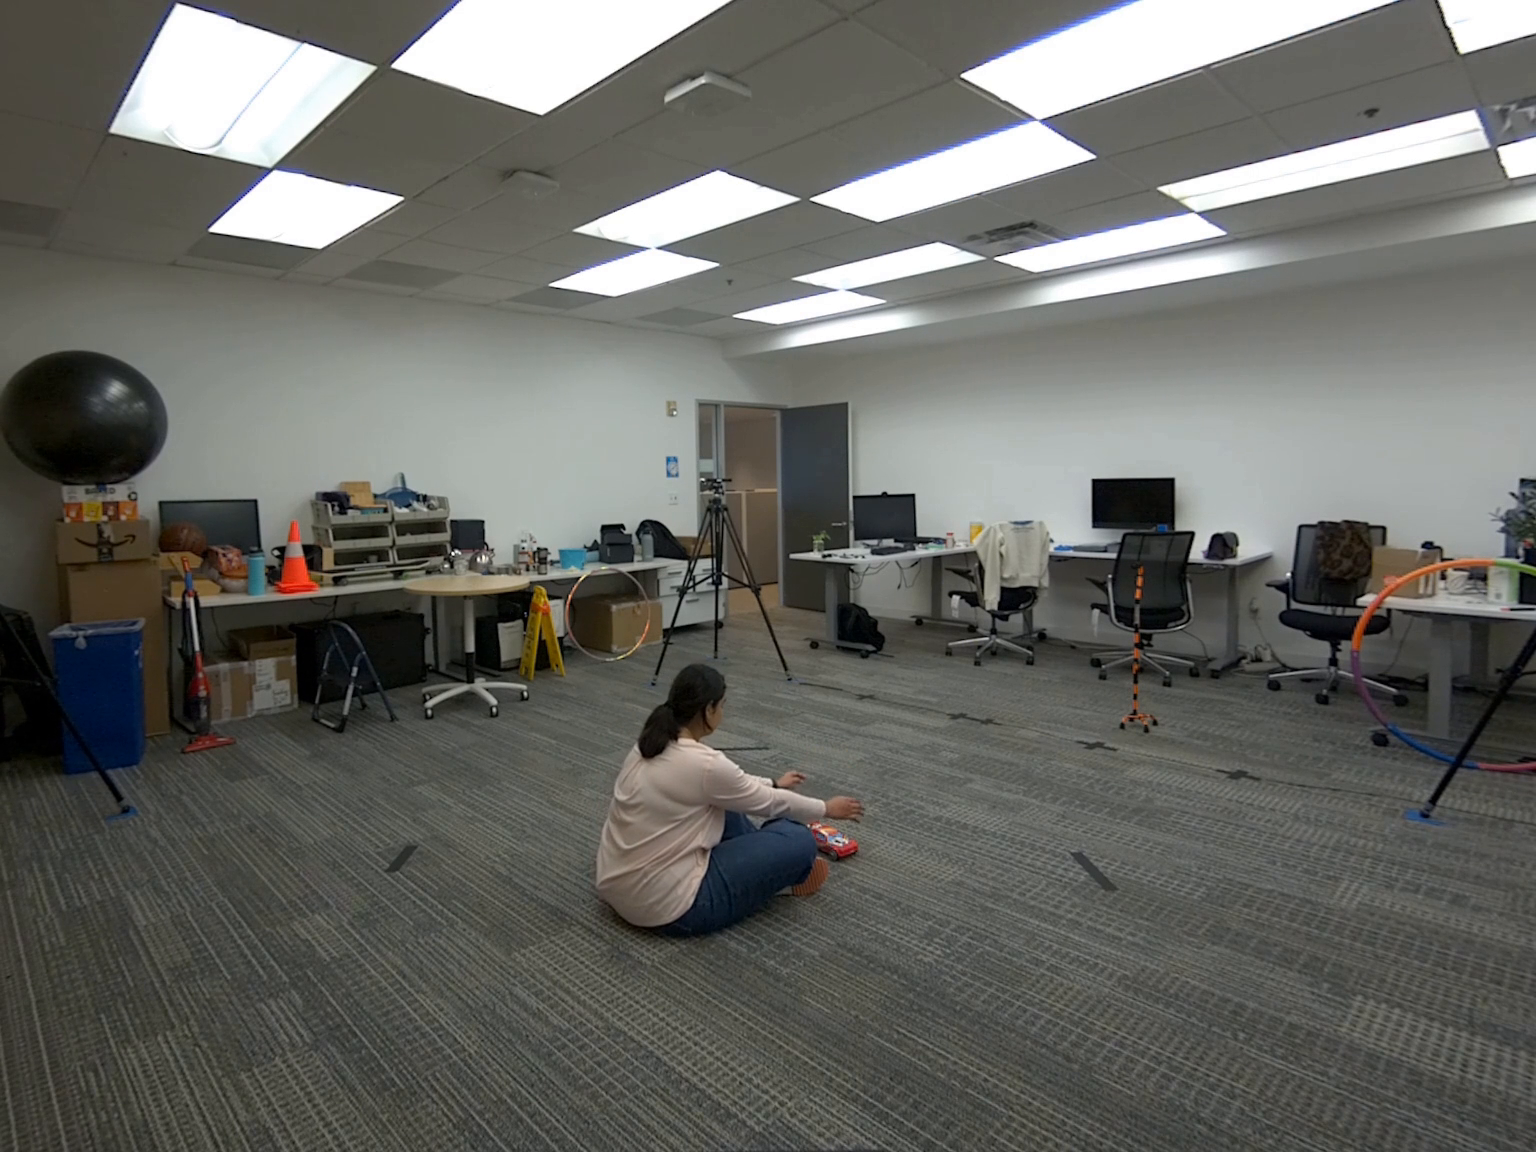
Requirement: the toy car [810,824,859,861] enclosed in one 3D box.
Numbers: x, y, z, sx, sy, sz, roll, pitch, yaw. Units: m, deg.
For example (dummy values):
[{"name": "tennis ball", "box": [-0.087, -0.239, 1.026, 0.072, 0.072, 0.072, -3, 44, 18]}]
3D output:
[{"name": "toy car", "box": [0.218, 0.986, 3.222, 0.127, 0.082, 0.264, -5, 17, -37]}]
